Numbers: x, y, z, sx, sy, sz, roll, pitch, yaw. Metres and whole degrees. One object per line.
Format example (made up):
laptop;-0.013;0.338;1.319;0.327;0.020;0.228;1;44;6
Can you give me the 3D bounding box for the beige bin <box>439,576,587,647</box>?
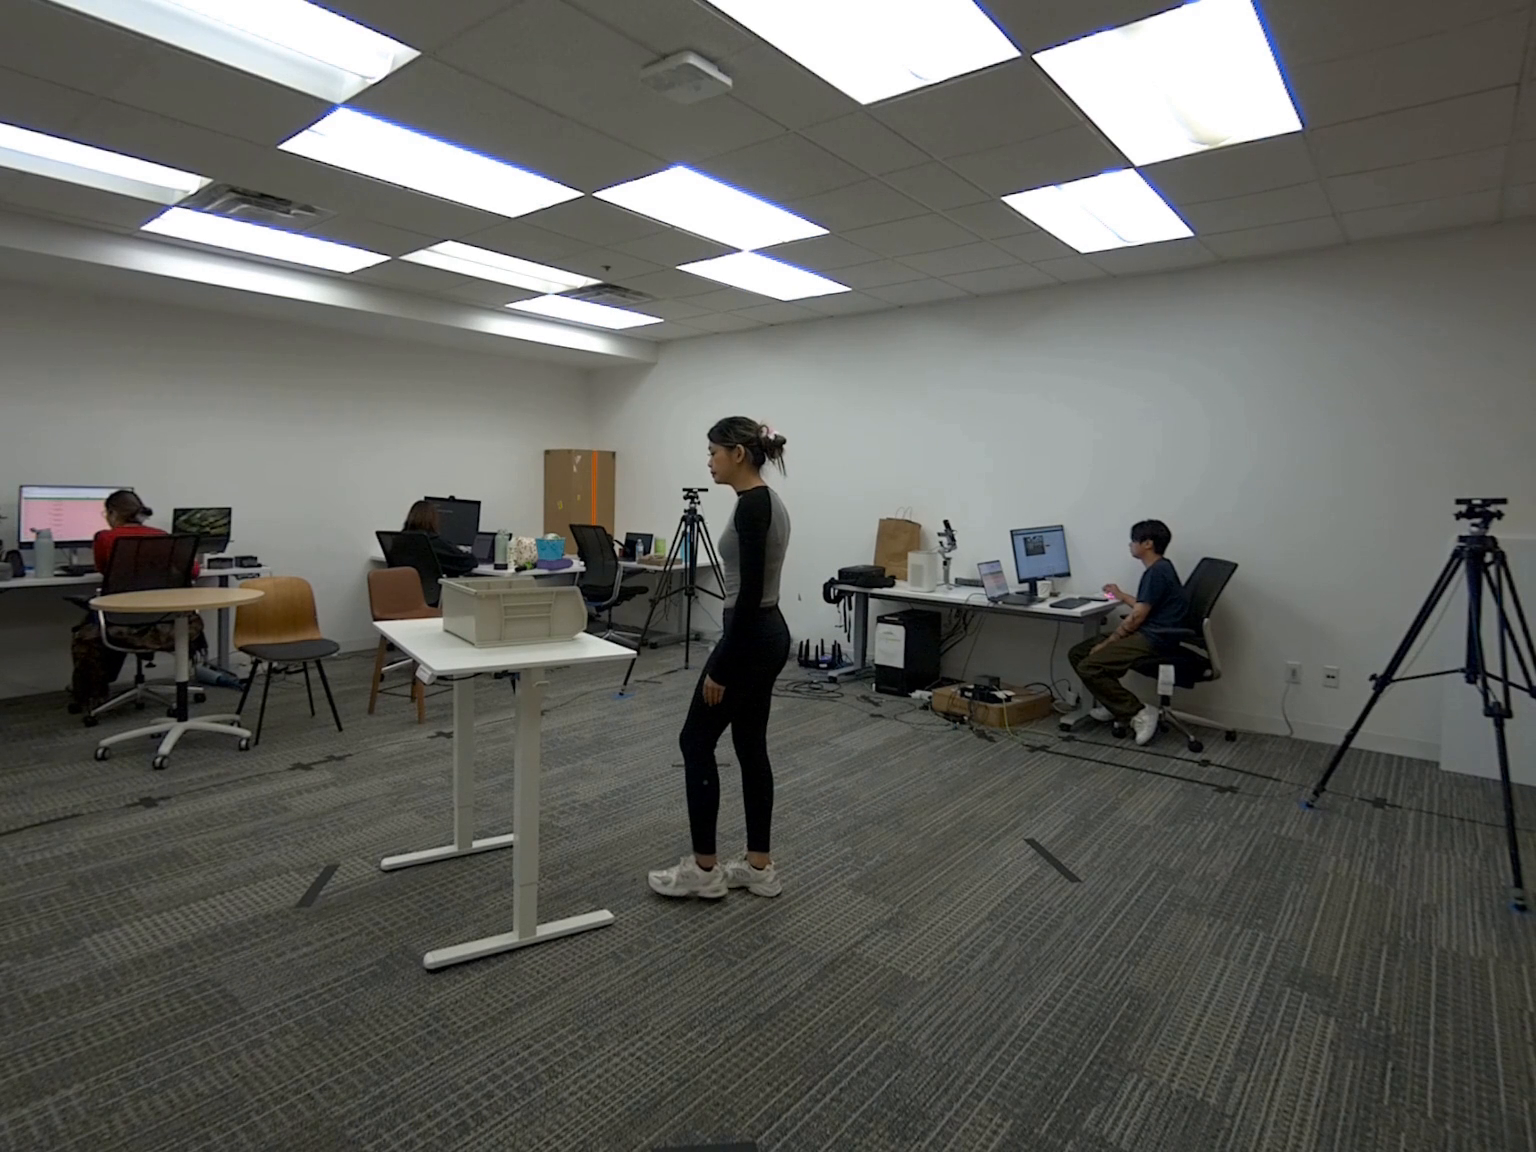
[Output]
beige bin;-0.883;0.112;2.876;0.367;0.188;0.436;-4;8;-34
